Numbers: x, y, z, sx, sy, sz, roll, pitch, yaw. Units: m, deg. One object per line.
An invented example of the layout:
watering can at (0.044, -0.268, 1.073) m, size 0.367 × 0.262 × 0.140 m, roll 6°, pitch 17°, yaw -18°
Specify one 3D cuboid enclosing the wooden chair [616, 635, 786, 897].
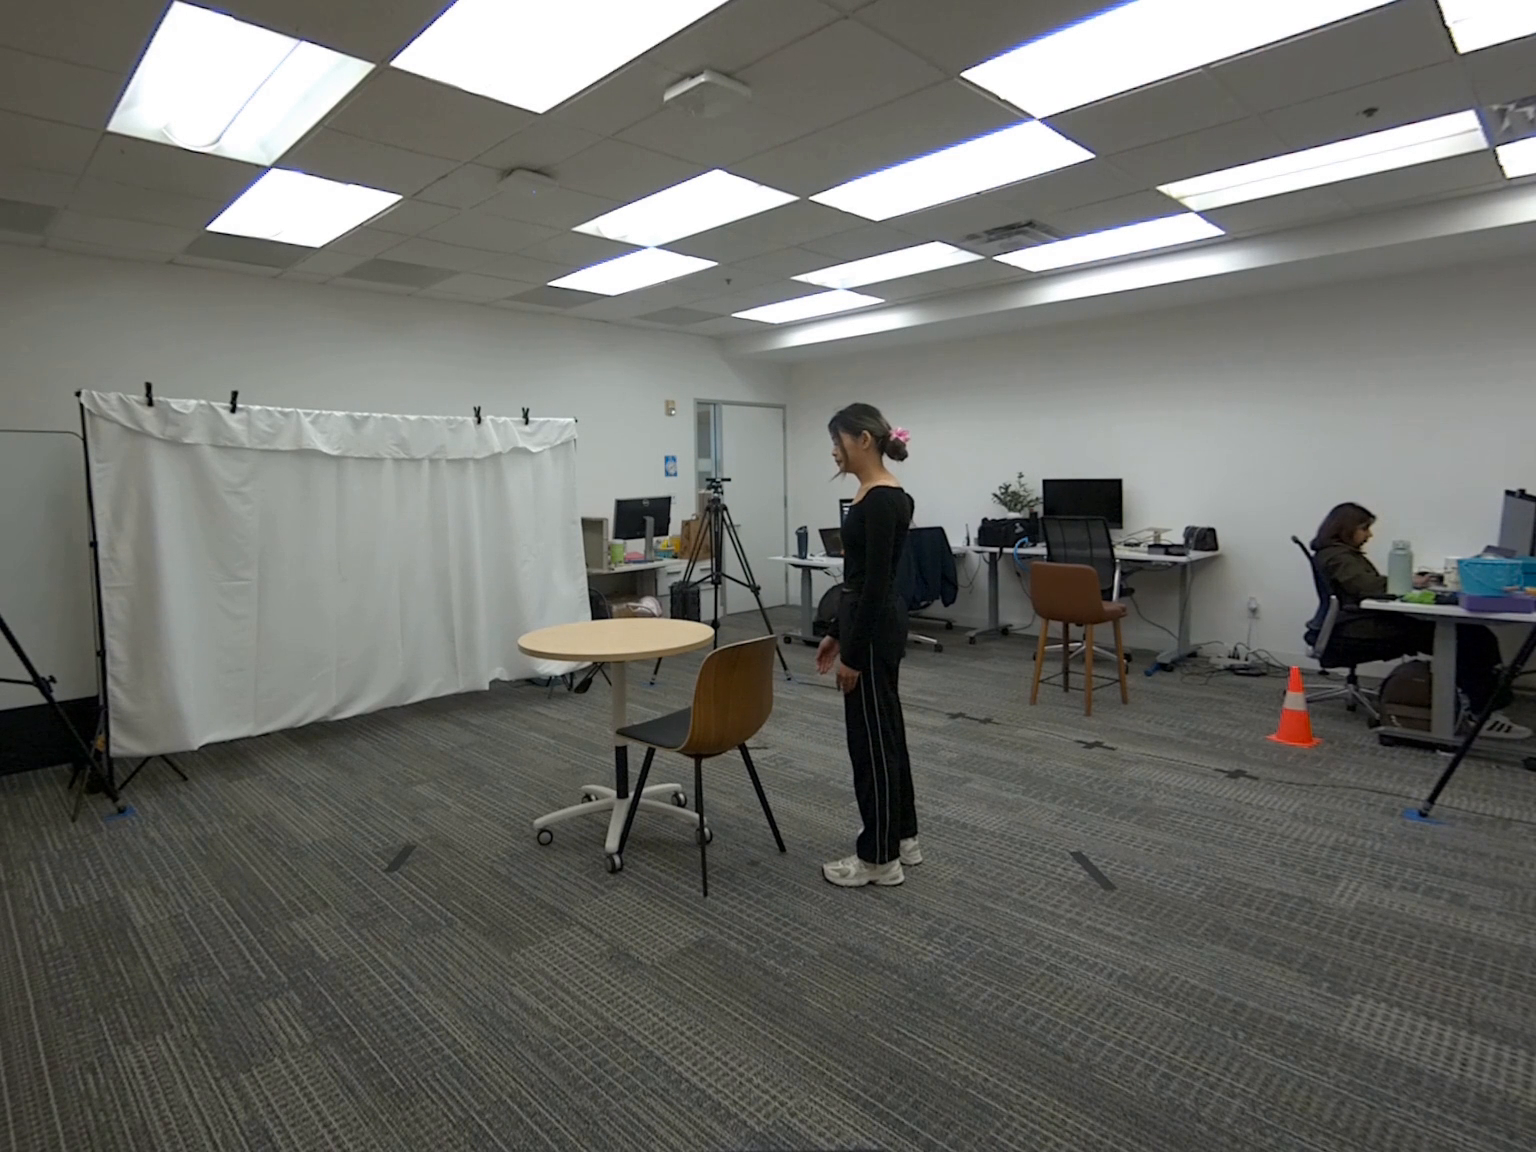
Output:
wooden chair at (-0.260, 0.612, 3.138) m, size 0.540 × 0.871 × 0.466 m, roll 9°, pitch 10°, yaw 39°
